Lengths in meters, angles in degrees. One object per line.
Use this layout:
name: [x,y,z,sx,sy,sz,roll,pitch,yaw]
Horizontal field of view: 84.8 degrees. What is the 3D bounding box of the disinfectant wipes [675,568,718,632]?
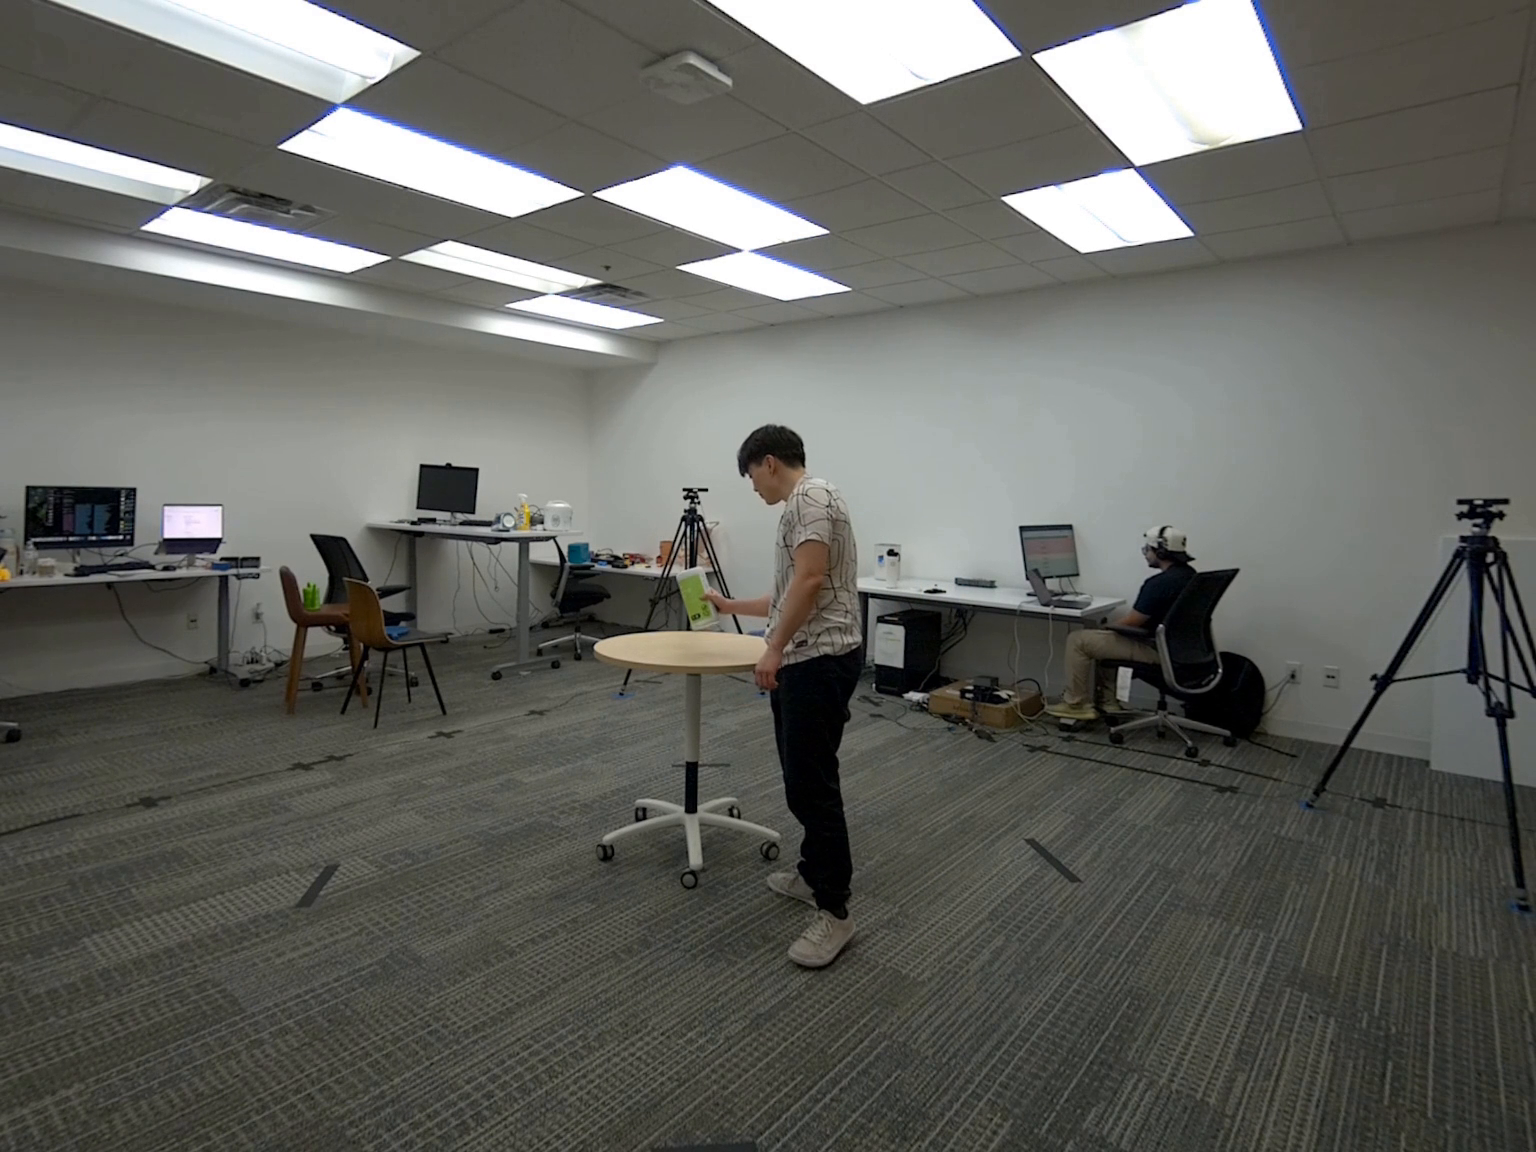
disinfectant wipes: [-0.274,0.080,3.164,0.117,0.220,0.117,-16,-9,-4]
